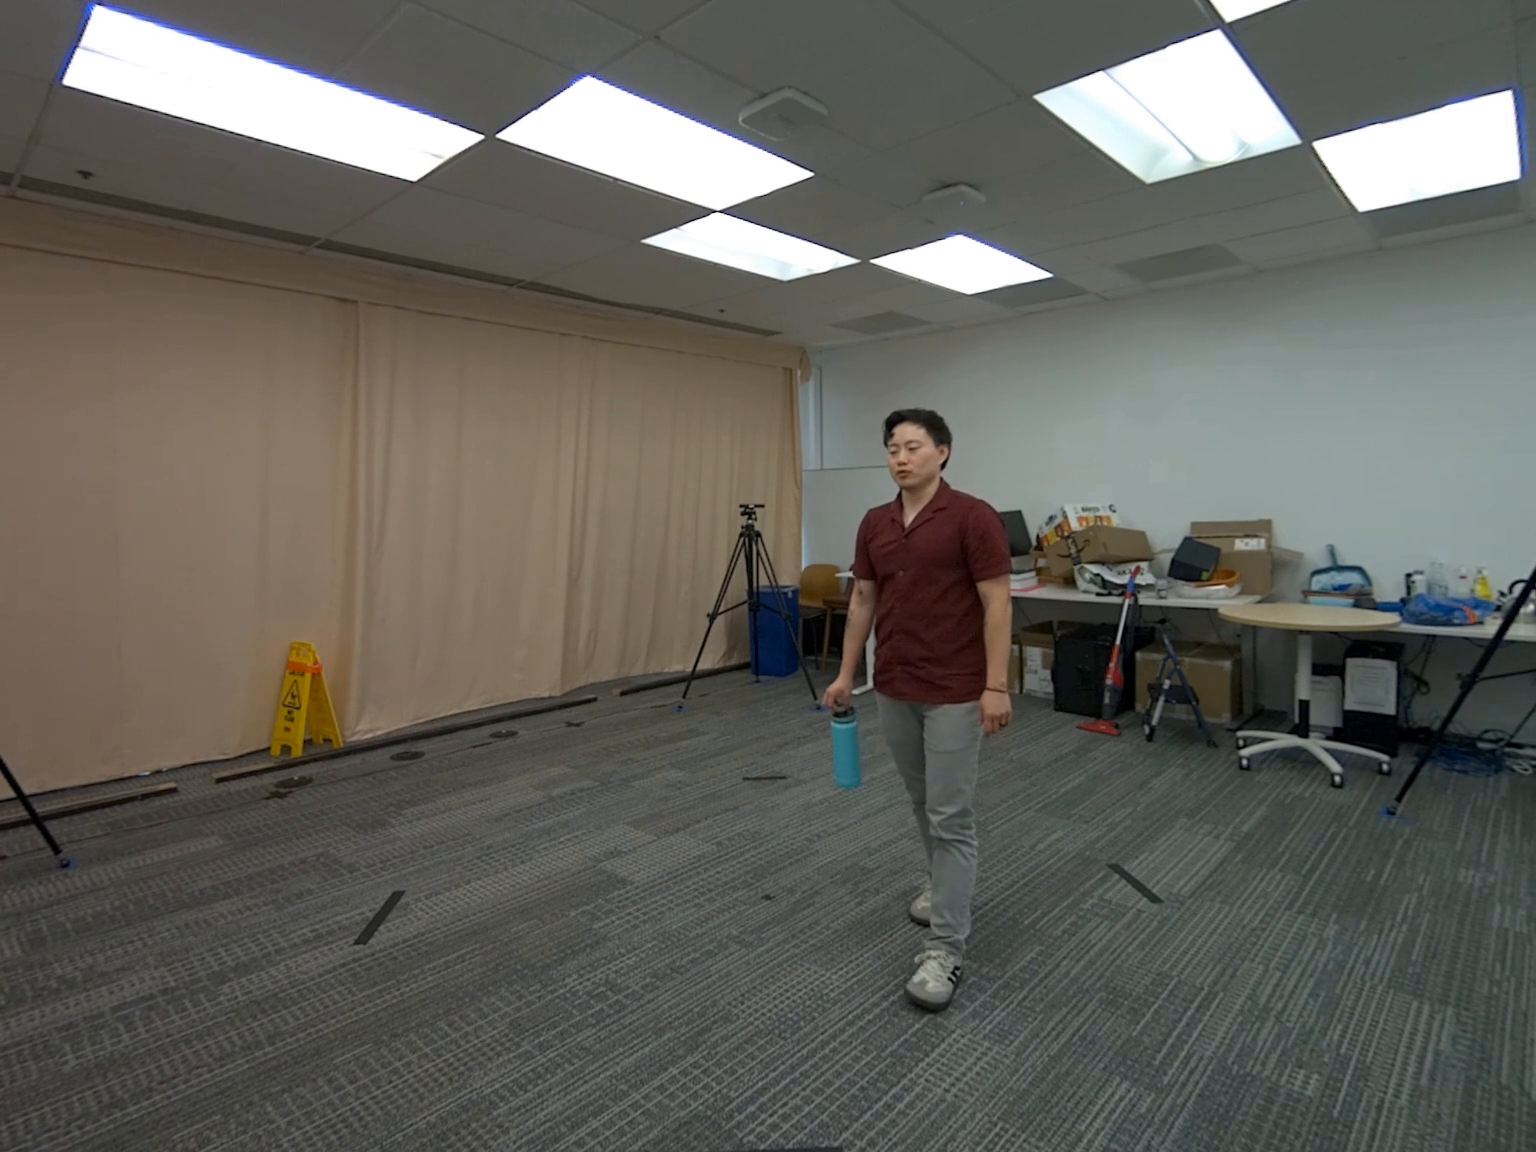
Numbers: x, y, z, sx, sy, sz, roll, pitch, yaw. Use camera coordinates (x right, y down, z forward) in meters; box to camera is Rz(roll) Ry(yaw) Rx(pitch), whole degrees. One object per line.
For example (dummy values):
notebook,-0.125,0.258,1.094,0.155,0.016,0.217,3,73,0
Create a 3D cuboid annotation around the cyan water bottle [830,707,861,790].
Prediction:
cyan water bottle,0.271,0.566,2.823,0.092,0.281,0.093,-8,8,-1
